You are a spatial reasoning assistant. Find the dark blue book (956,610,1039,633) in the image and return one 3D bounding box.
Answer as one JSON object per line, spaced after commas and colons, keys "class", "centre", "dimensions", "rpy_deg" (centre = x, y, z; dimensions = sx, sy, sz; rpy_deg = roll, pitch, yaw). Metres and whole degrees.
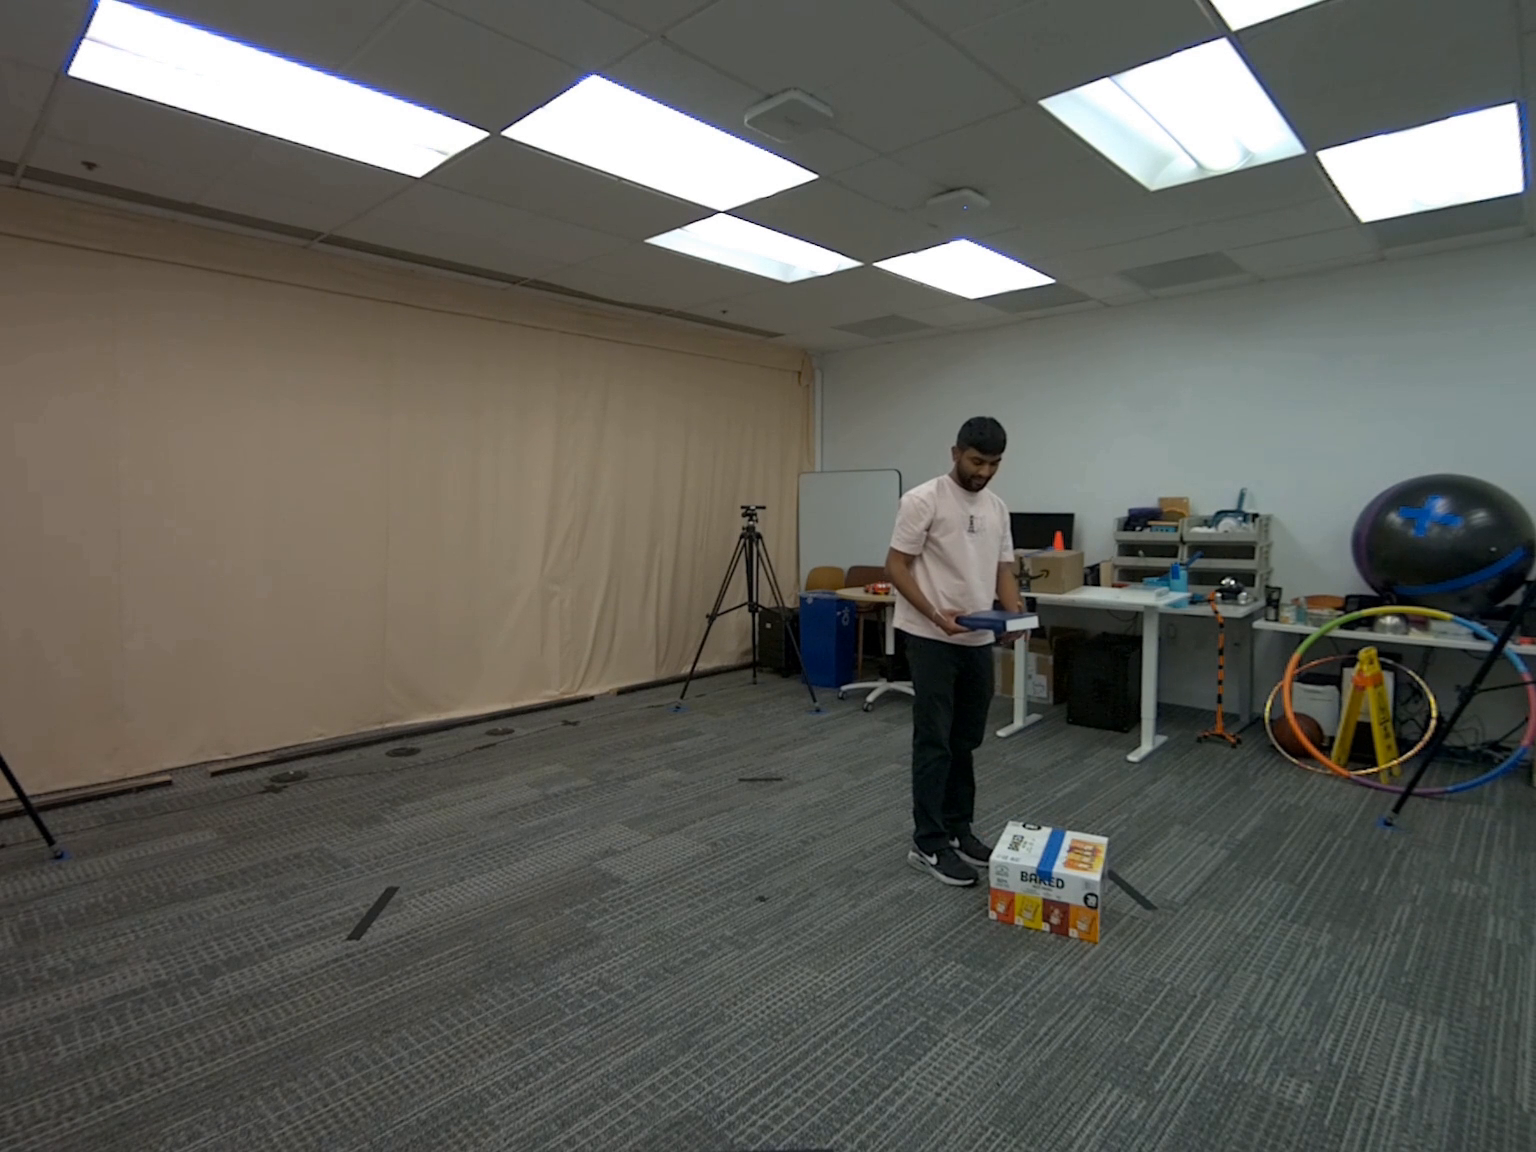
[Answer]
{"class": "dark blue book", "centre": [0.802, 0.160, 2.976], "dimensions": [0.159, 0.045, 0.252], "rpy_deg": [-5, 4, -30]}
